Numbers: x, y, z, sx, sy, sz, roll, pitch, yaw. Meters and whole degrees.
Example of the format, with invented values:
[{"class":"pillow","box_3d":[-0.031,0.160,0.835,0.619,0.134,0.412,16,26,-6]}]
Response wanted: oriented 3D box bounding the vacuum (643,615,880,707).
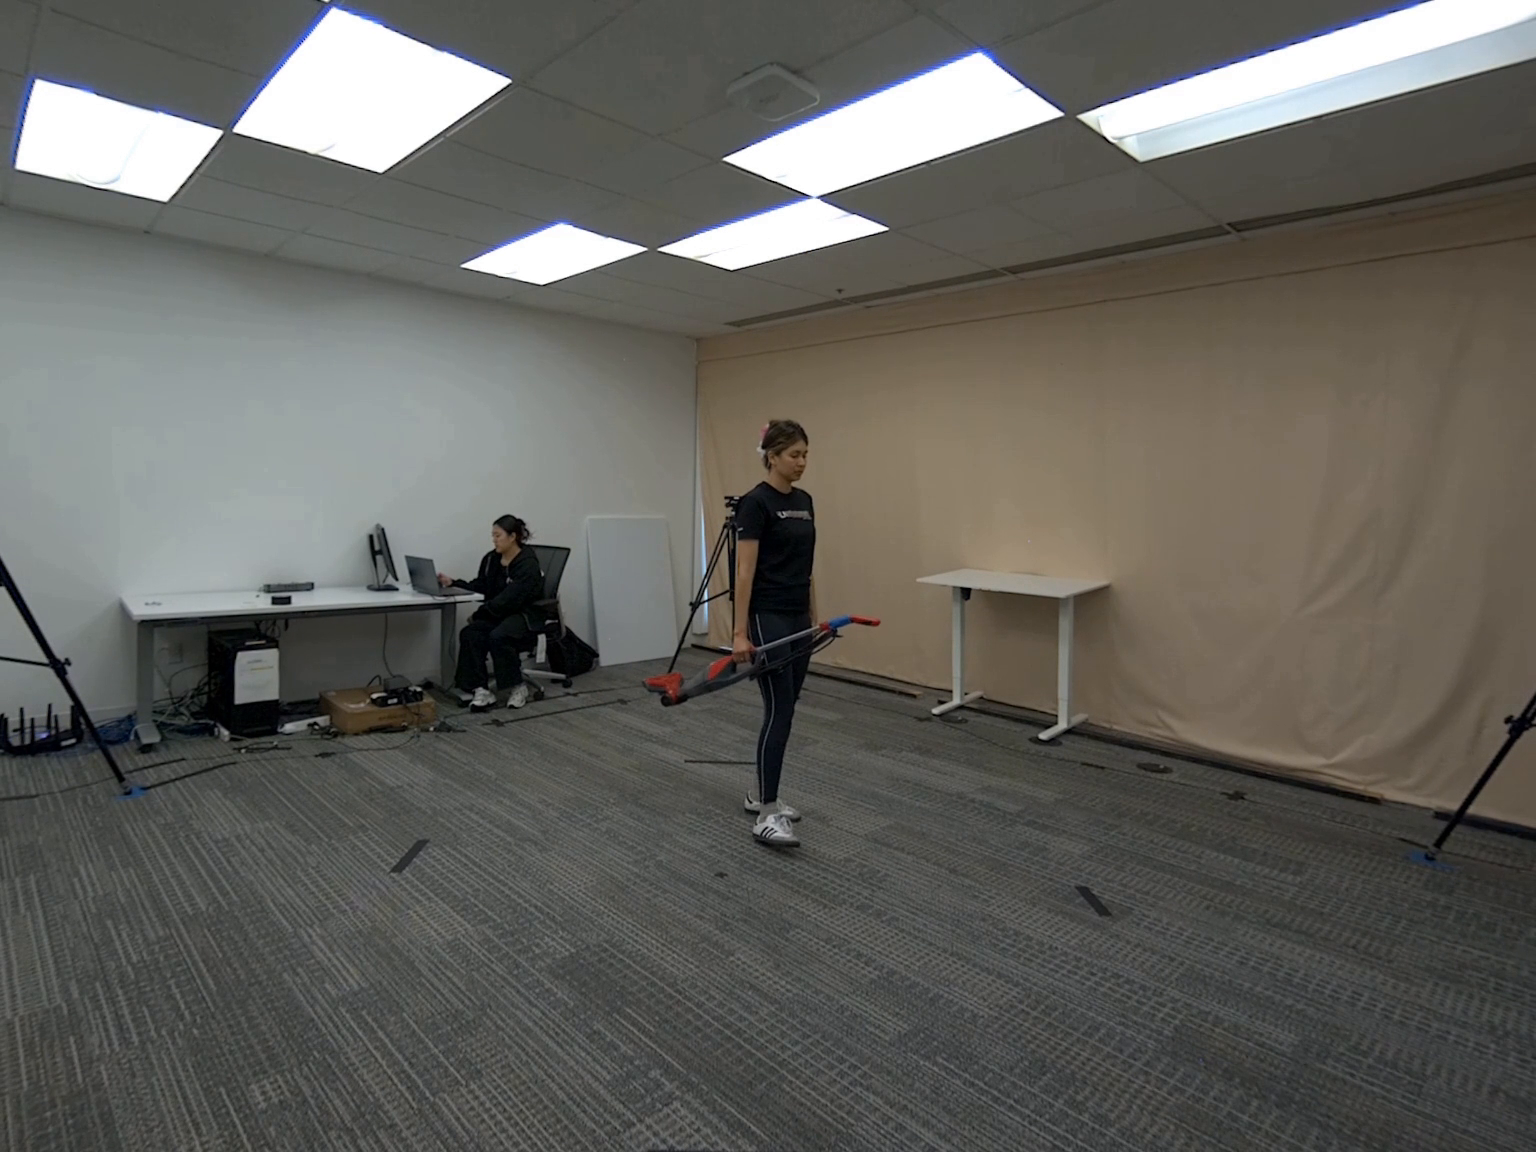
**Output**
[{"class":"vacuum","box_3d":[-0.029,0.331,3.334,1.063,0.145,0.246,-21,-13,33]}]
